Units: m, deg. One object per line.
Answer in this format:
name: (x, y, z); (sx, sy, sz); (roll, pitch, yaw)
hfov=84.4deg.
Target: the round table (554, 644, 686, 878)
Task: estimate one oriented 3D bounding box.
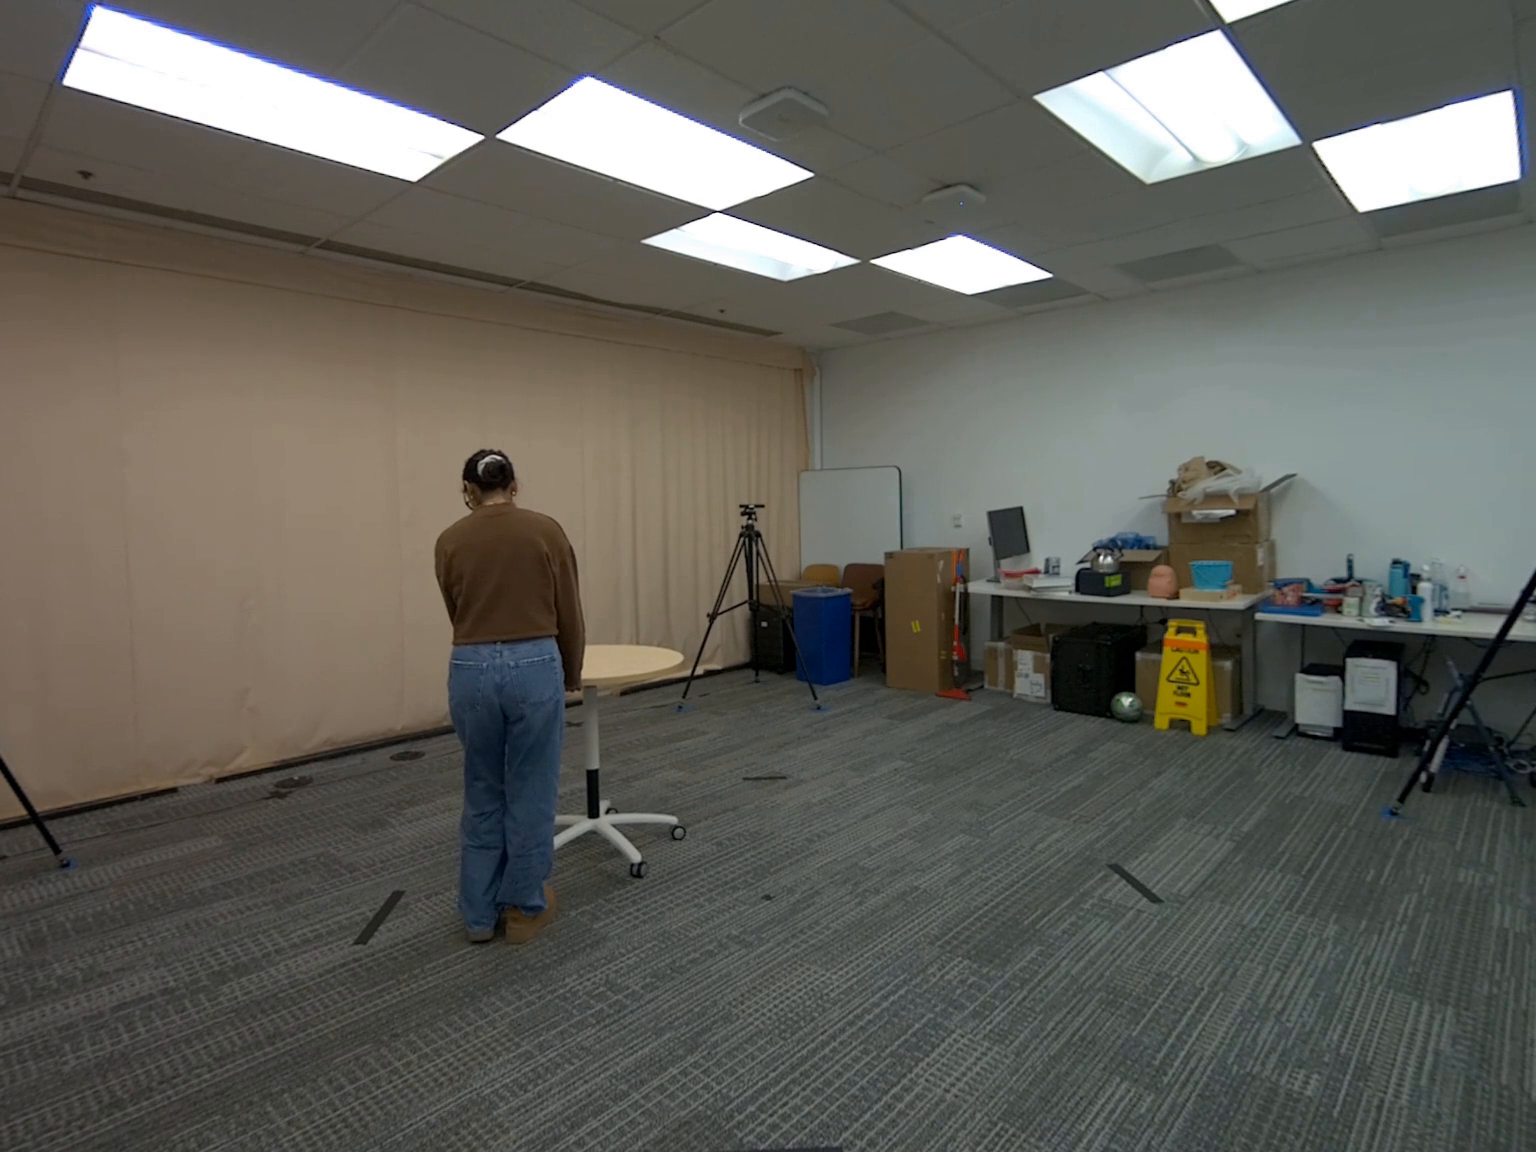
round table: (-0.706, 0.731, 3.406); (0.763, 0.792, 0.766); (-1, 3, -2)
